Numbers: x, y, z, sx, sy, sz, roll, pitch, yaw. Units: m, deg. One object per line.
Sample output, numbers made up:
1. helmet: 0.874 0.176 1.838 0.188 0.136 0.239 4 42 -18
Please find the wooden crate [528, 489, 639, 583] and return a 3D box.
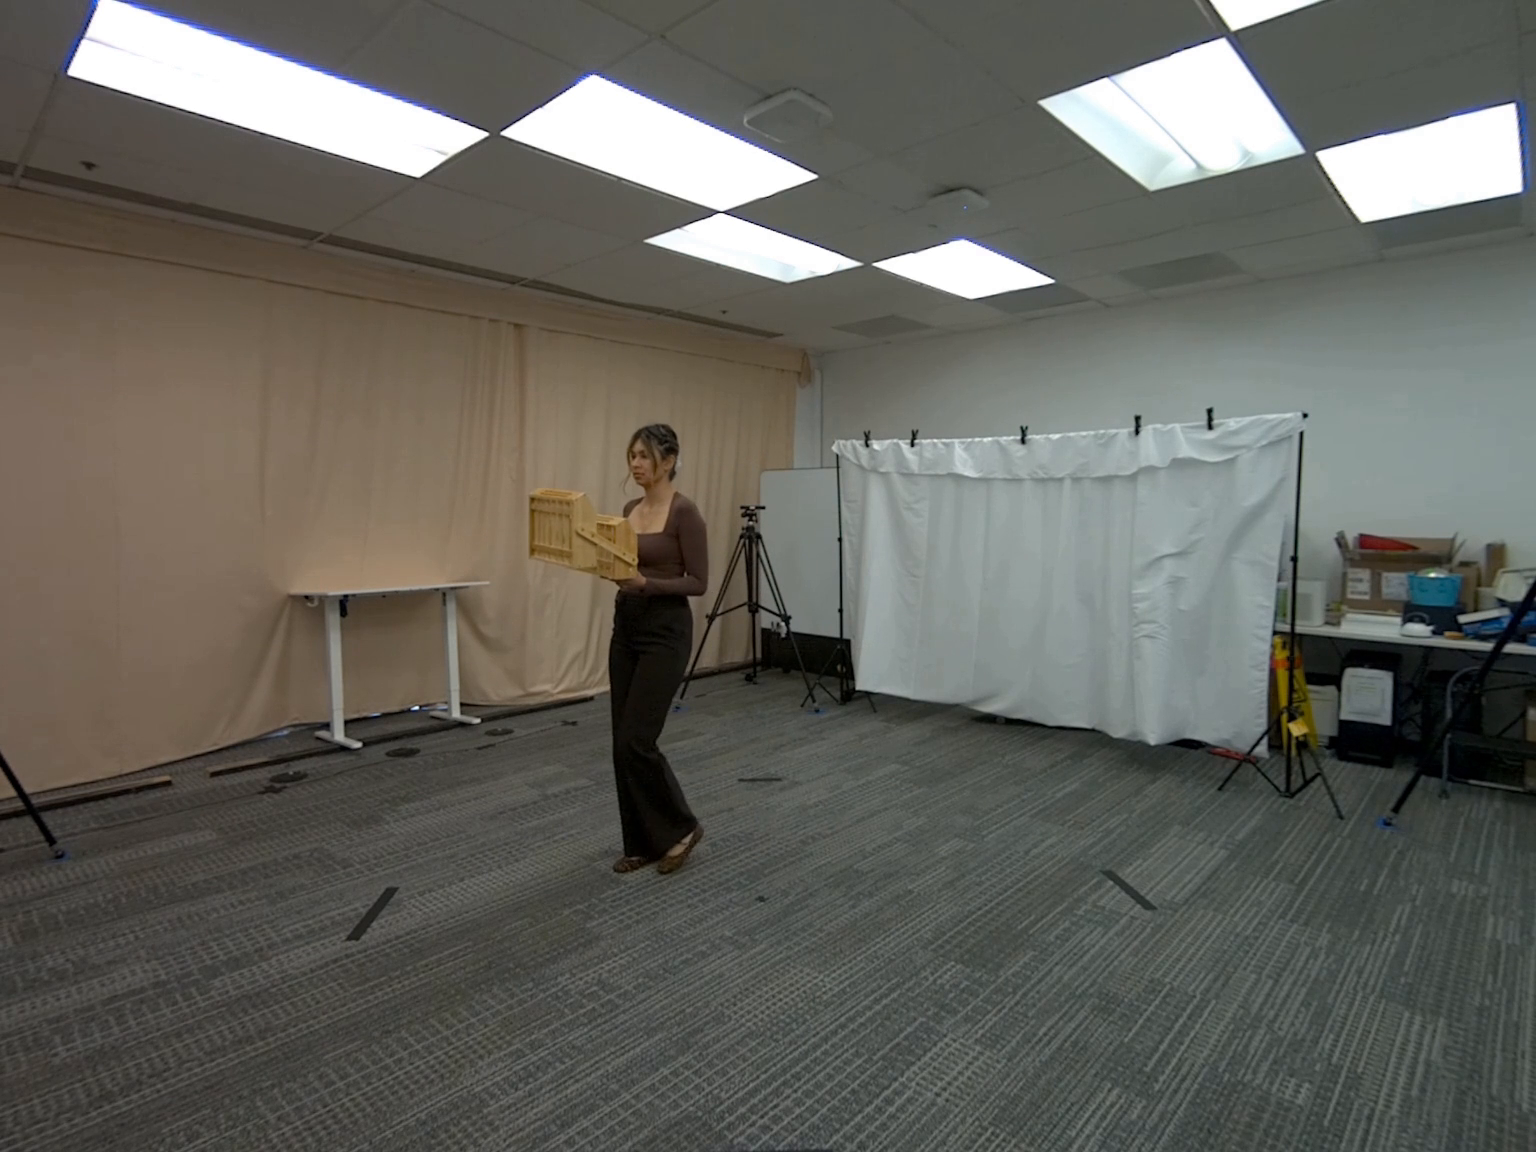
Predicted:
1. wooden crate: -0.649 -0.154 2.969 0.265 0.300 0.336 -5 11 -42
